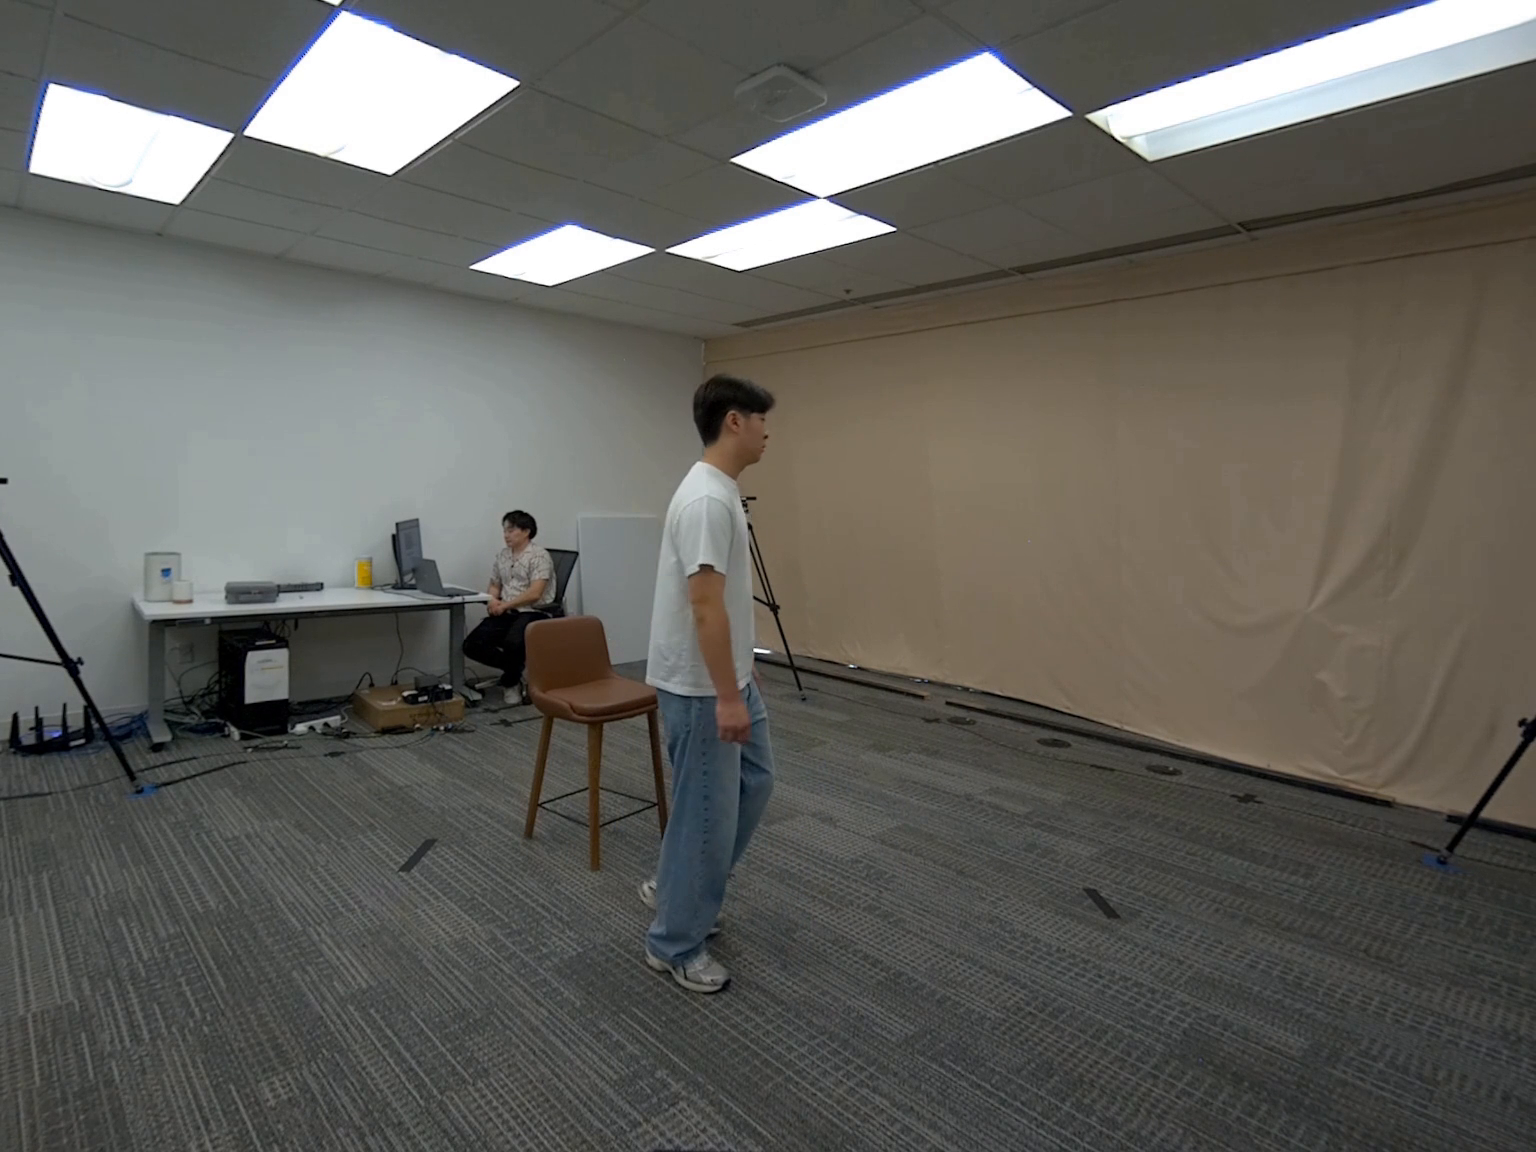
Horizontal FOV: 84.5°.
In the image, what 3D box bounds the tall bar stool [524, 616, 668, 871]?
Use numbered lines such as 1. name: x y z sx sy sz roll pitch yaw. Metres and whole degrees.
1. tall bar stool: -0.703 0.633 3.393 0.479 0.889 0.446 1 2 39
